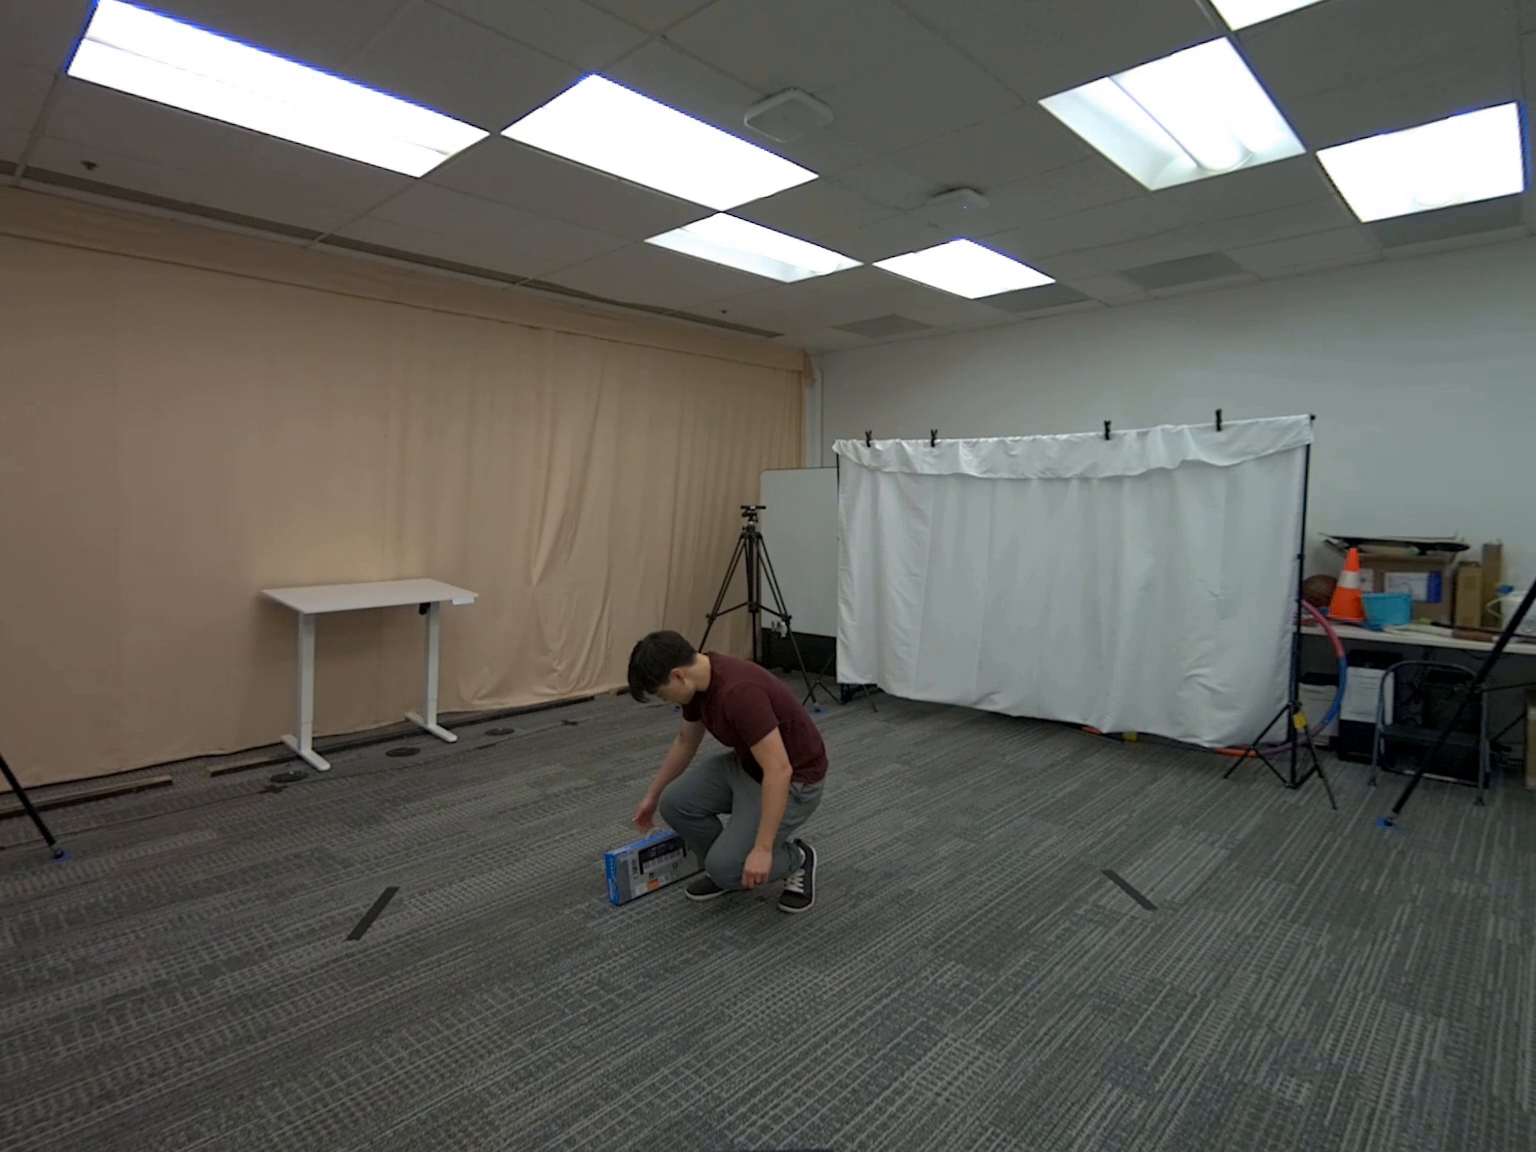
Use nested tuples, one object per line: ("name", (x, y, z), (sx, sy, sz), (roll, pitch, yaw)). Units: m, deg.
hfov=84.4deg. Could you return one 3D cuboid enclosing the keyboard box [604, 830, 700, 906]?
("keyboard box", (-0.401, 1.050, 3.103), (0.423, 0.176, 0.061), (-5, -3, -45))
